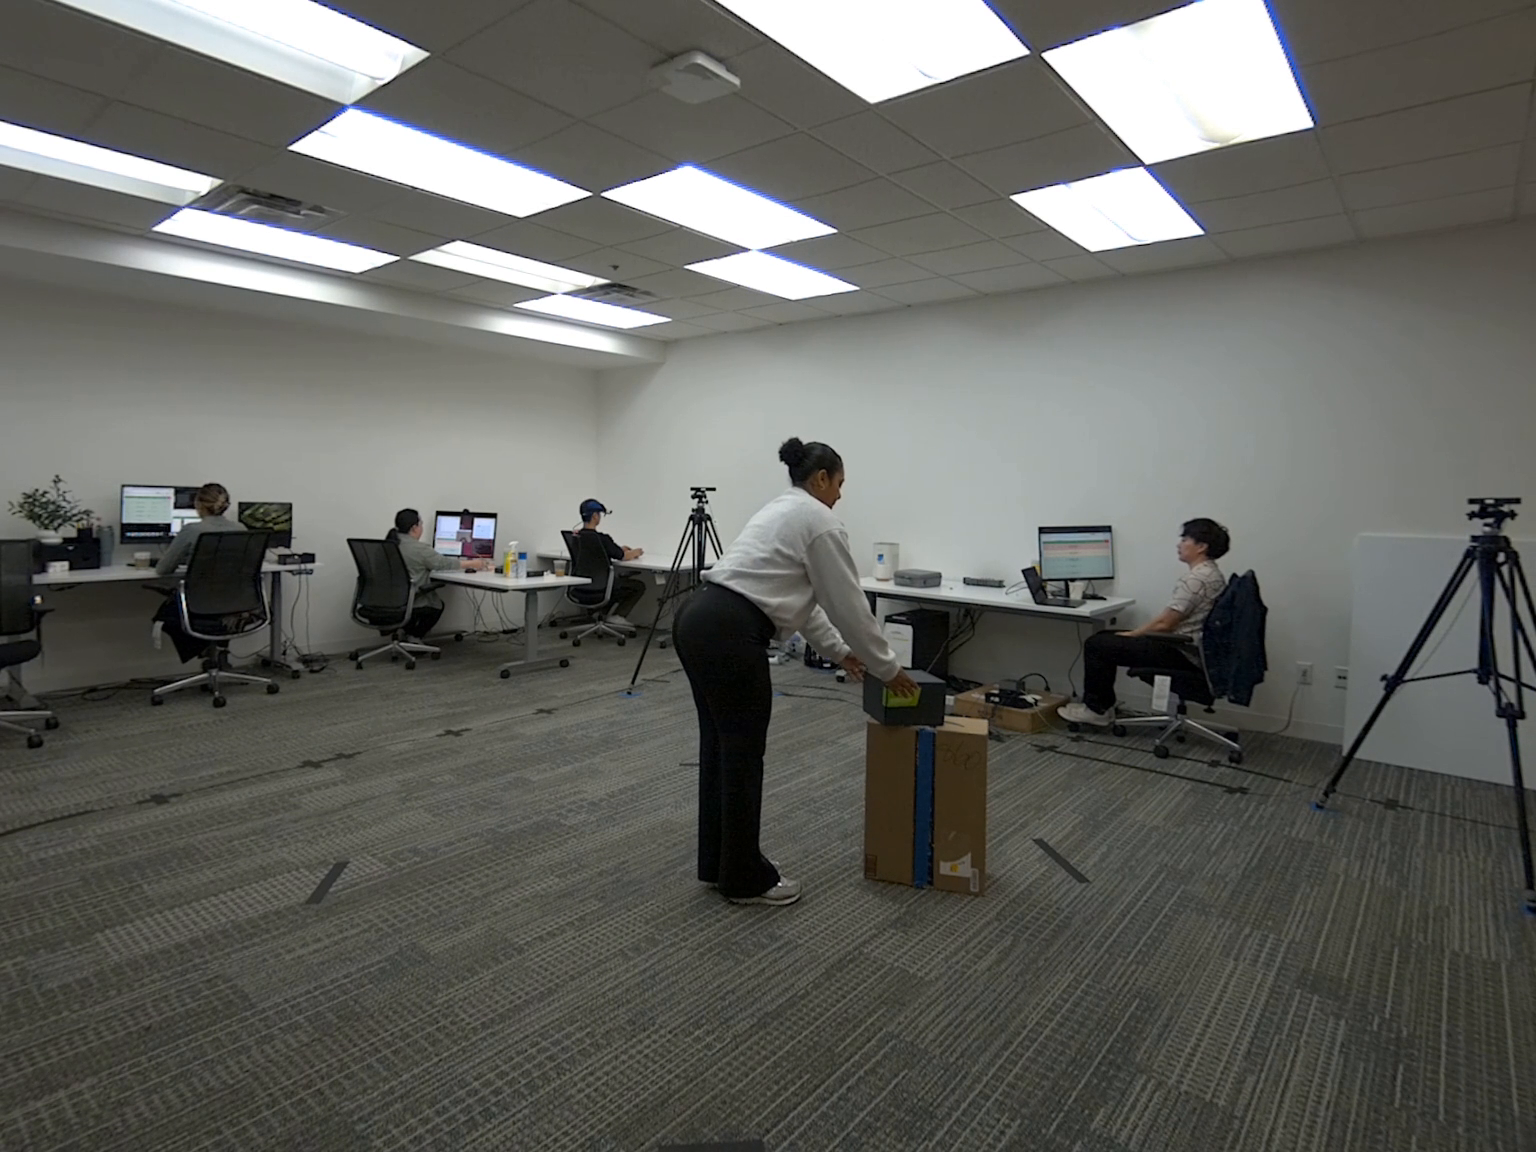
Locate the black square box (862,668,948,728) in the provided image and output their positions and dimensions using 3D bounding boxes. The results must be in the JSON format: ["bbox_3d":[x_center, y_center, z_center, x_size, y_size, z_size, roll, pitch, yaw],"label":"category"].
[{"bbox_3d":[0.489,0.436,3.094,0.225,0.155,0.221,2,4,-14],"label":"black square box"}]
